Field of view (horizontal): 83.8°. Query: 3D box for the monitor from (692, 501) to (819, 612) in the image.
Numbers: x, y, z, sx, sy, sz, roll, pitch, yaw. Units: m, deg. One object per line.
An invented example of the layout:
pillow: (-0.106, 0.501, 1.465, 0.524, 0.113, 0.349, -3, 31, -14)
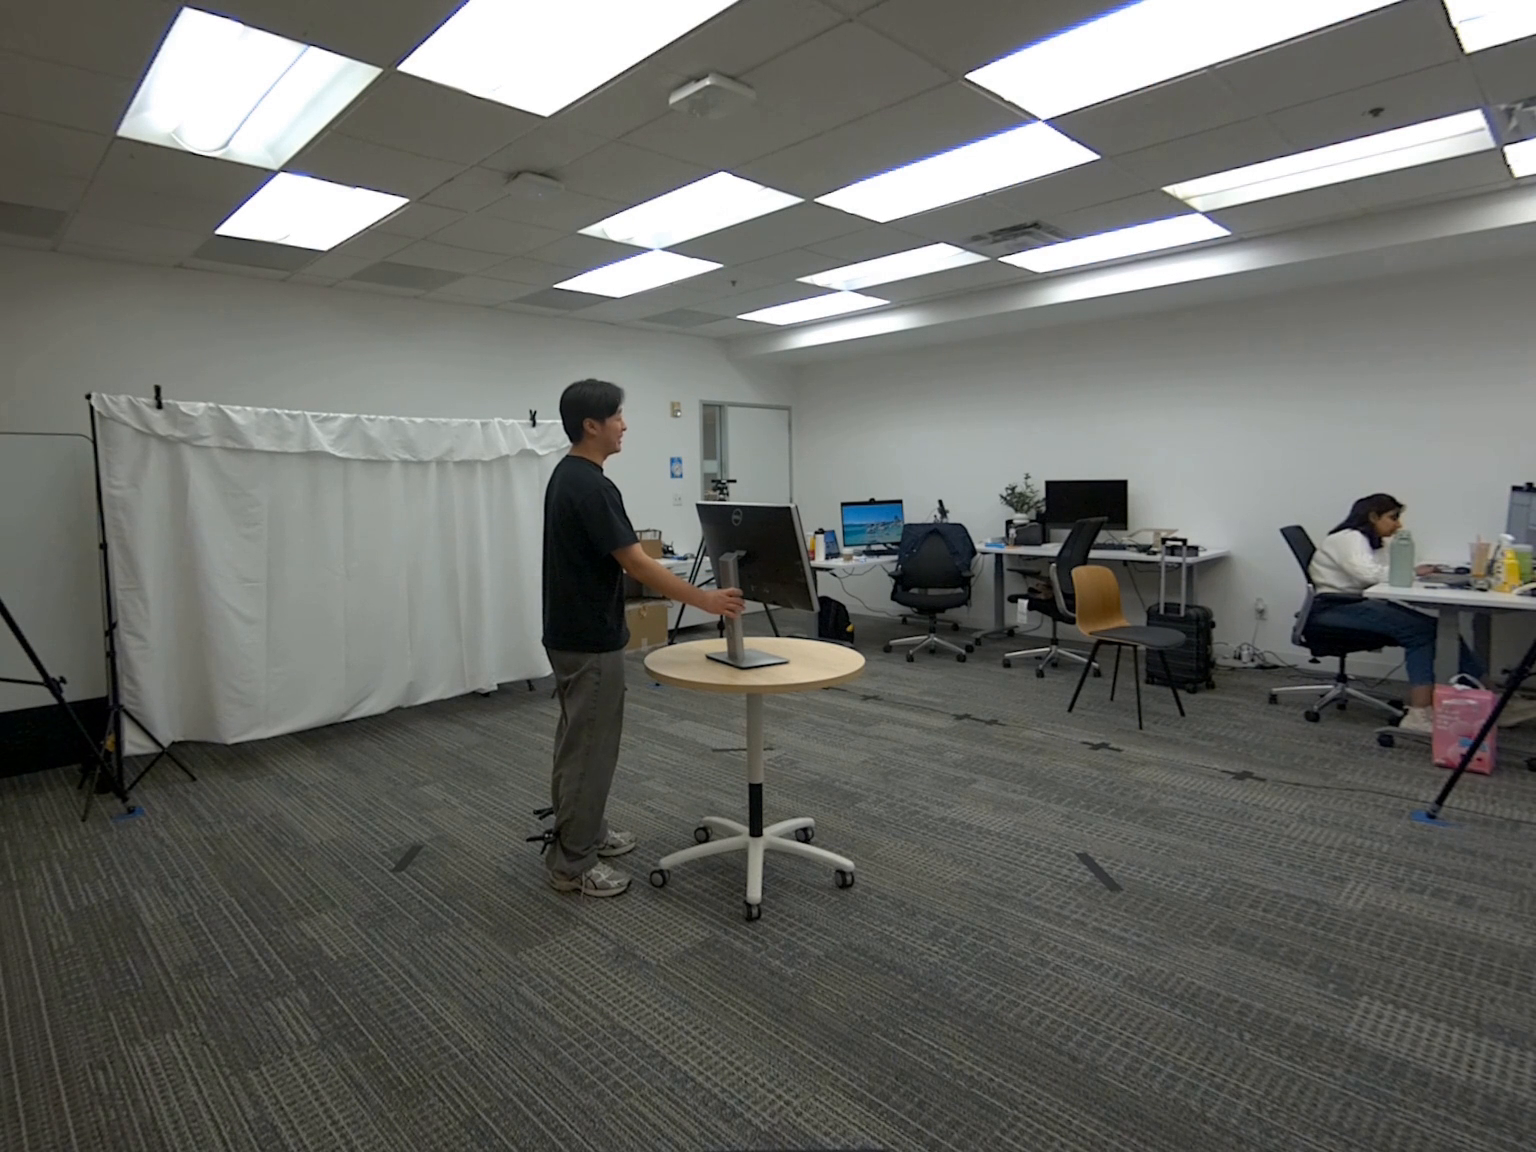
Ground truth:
monitor: (-0.072, 0.030, 2.933, 0.216, 0.564, 0.578, -2, 6, -33)
